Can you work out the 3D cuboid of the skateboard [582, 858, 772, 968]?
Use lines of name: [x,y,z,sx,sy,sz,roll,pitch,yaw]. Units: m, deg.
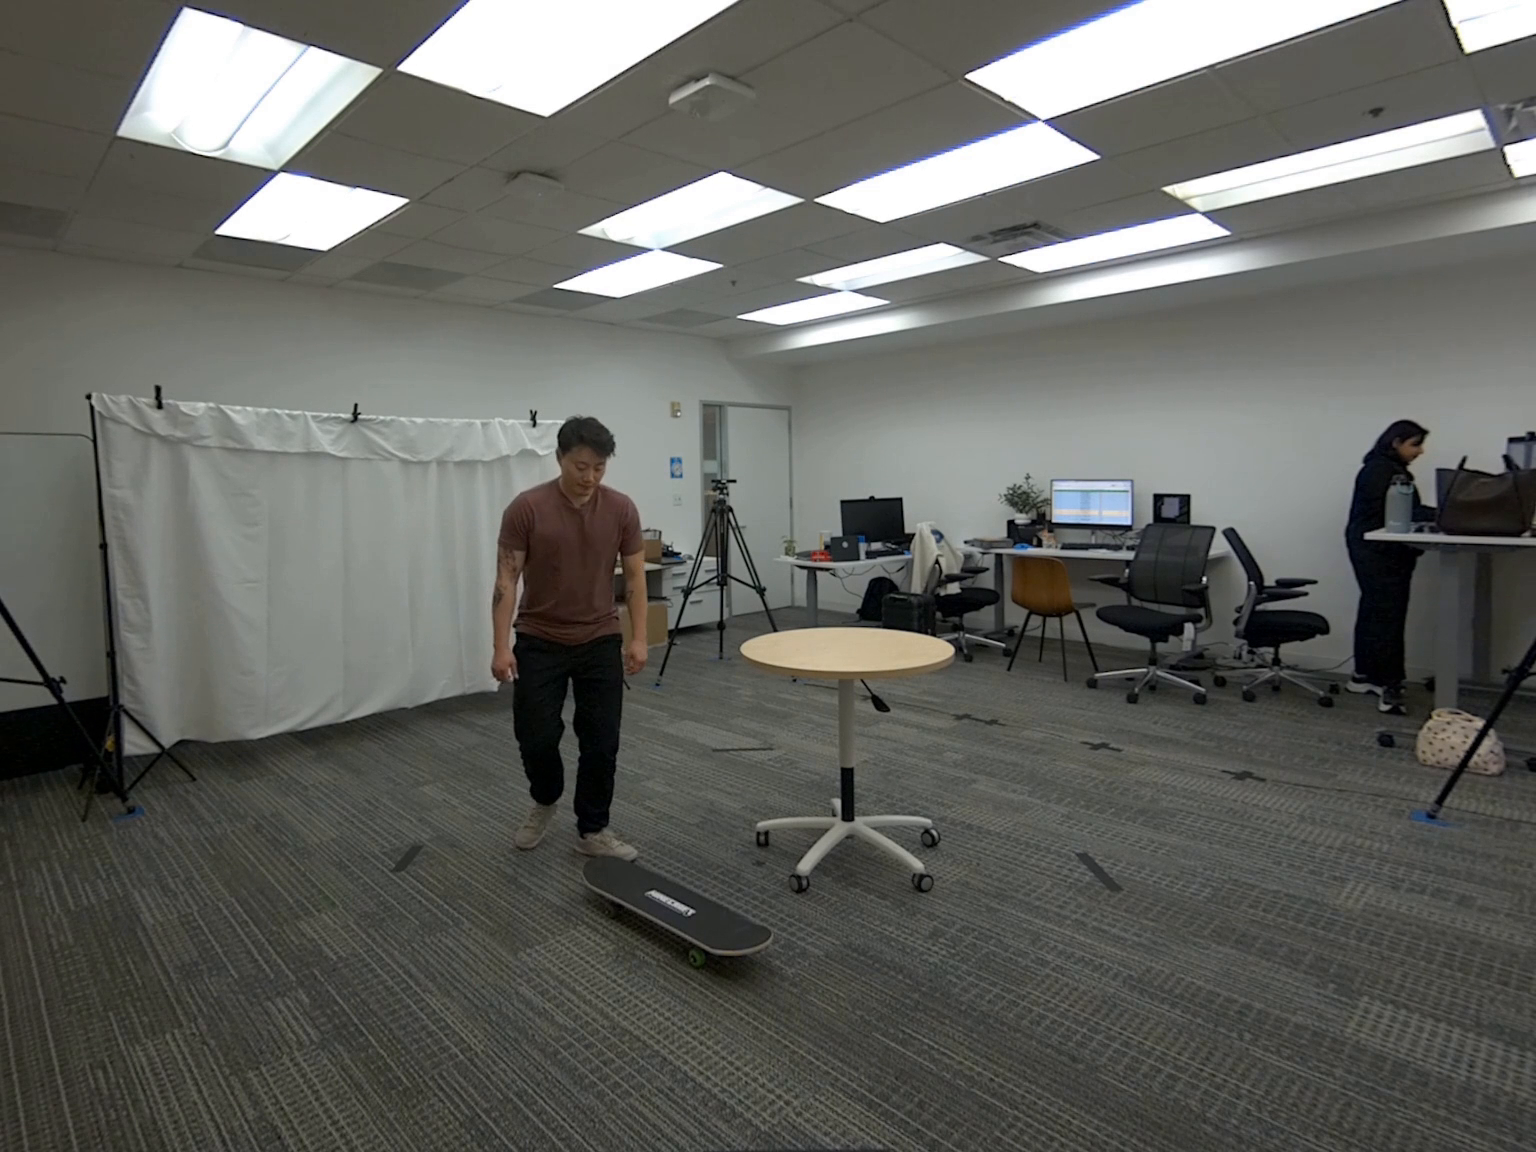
skateboard: [-0.300,1.052,2.651,0.810,0.110,0.188,5,9,43]
